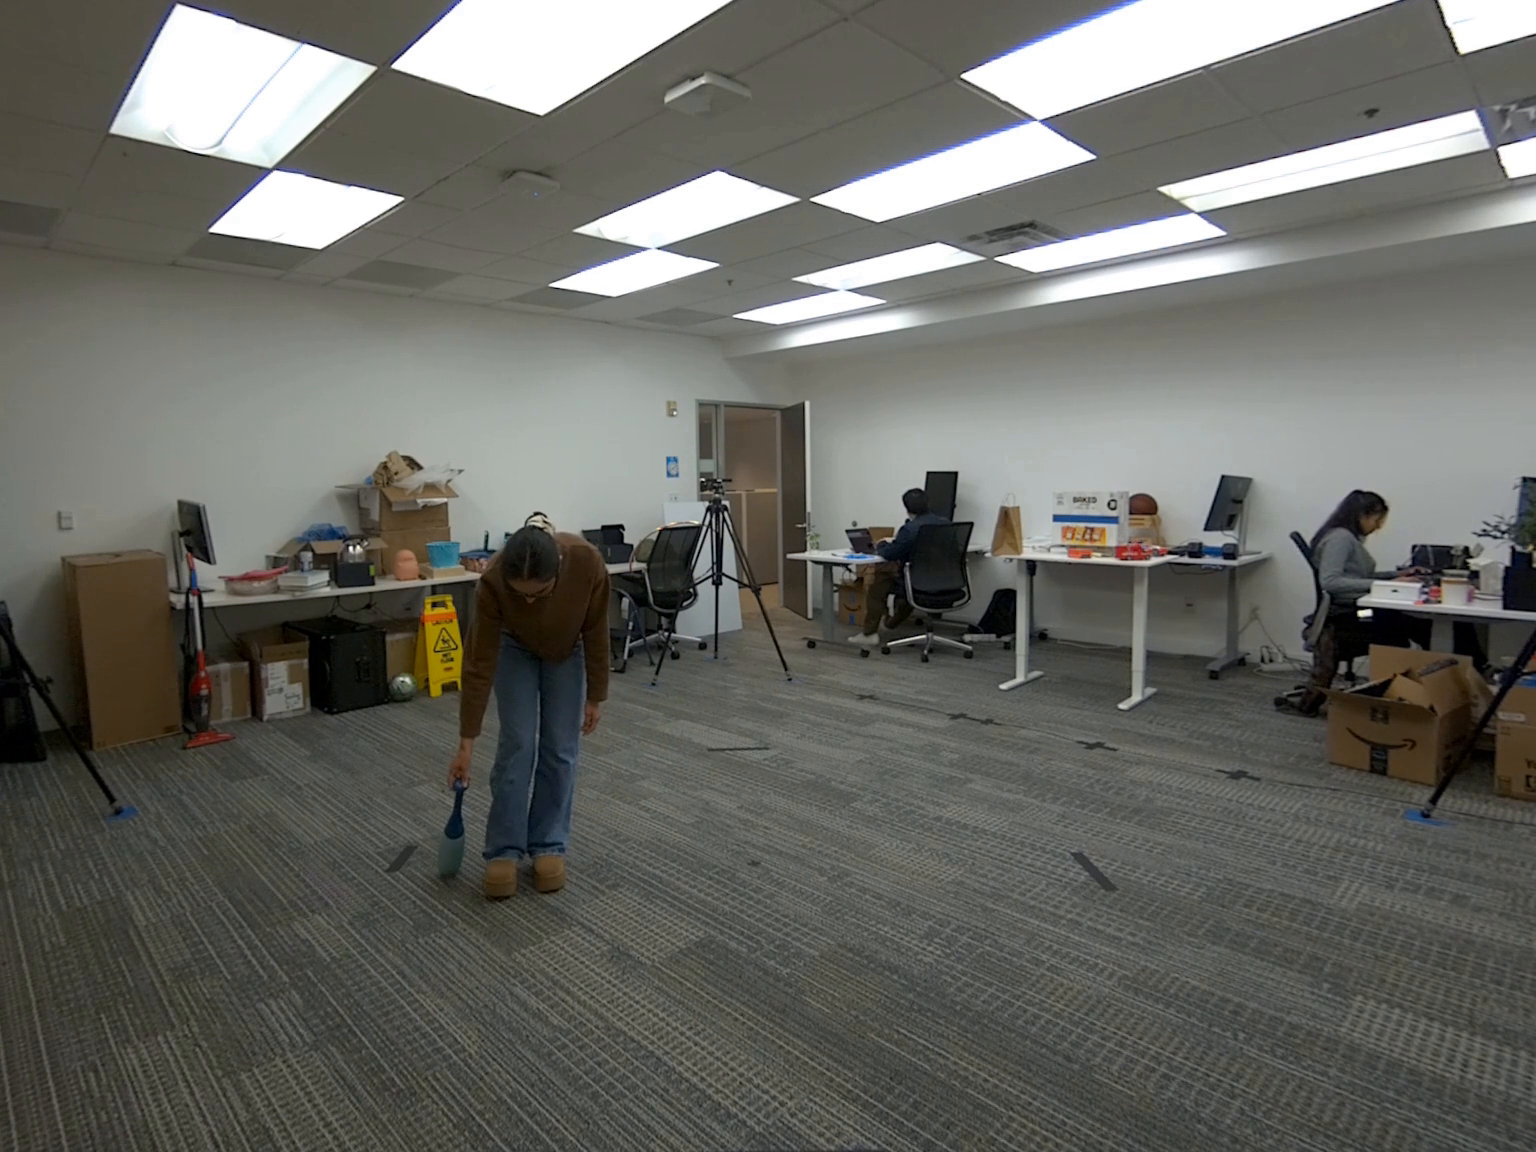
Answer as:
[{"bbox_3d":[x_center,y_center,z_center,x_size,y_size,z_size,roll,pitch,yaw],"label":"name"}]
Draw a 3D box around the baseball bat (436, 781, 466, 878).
[{"bbox_3d":[-1.070,0.868,2.919,0.088,0.535,0.091,12,42,-13],"label":"baseball bat"}]
